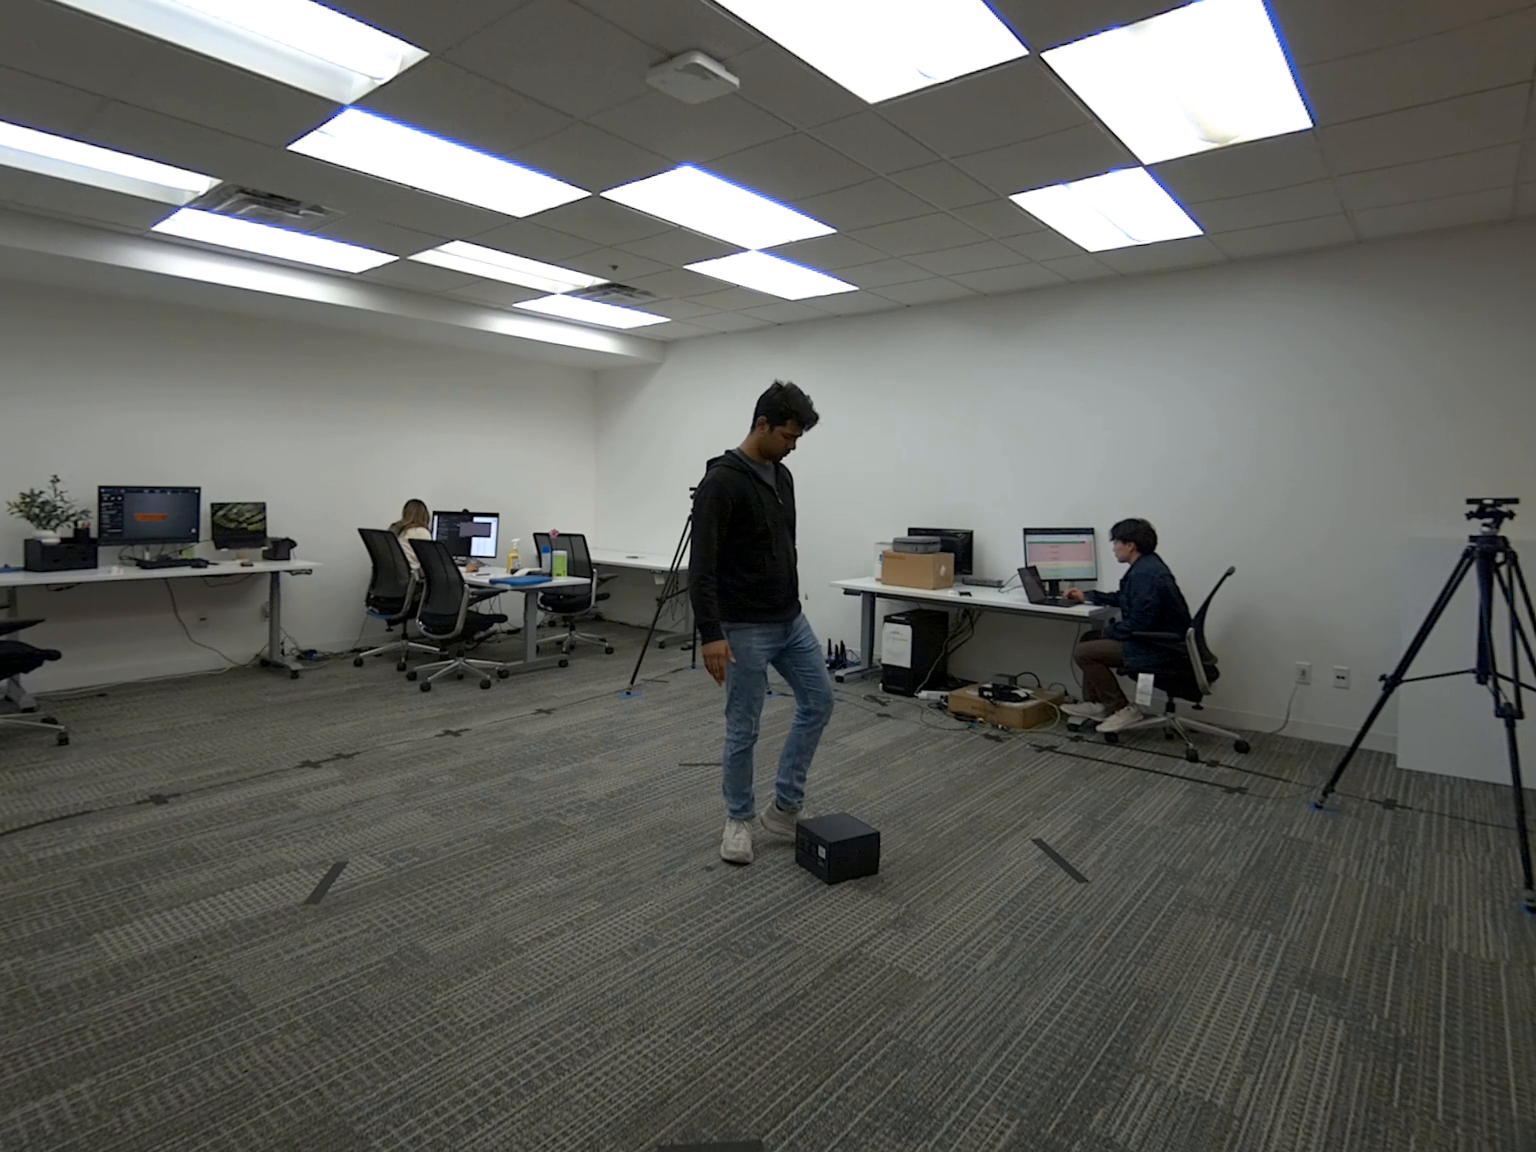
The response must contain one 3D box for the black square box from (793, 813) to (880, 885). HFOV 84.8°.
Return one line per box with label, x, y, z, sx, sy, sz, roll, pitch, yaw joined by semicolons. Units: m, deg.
black square box;0.243;0.990;3.129;0.222;0.155;0.224;-1;5;-31
